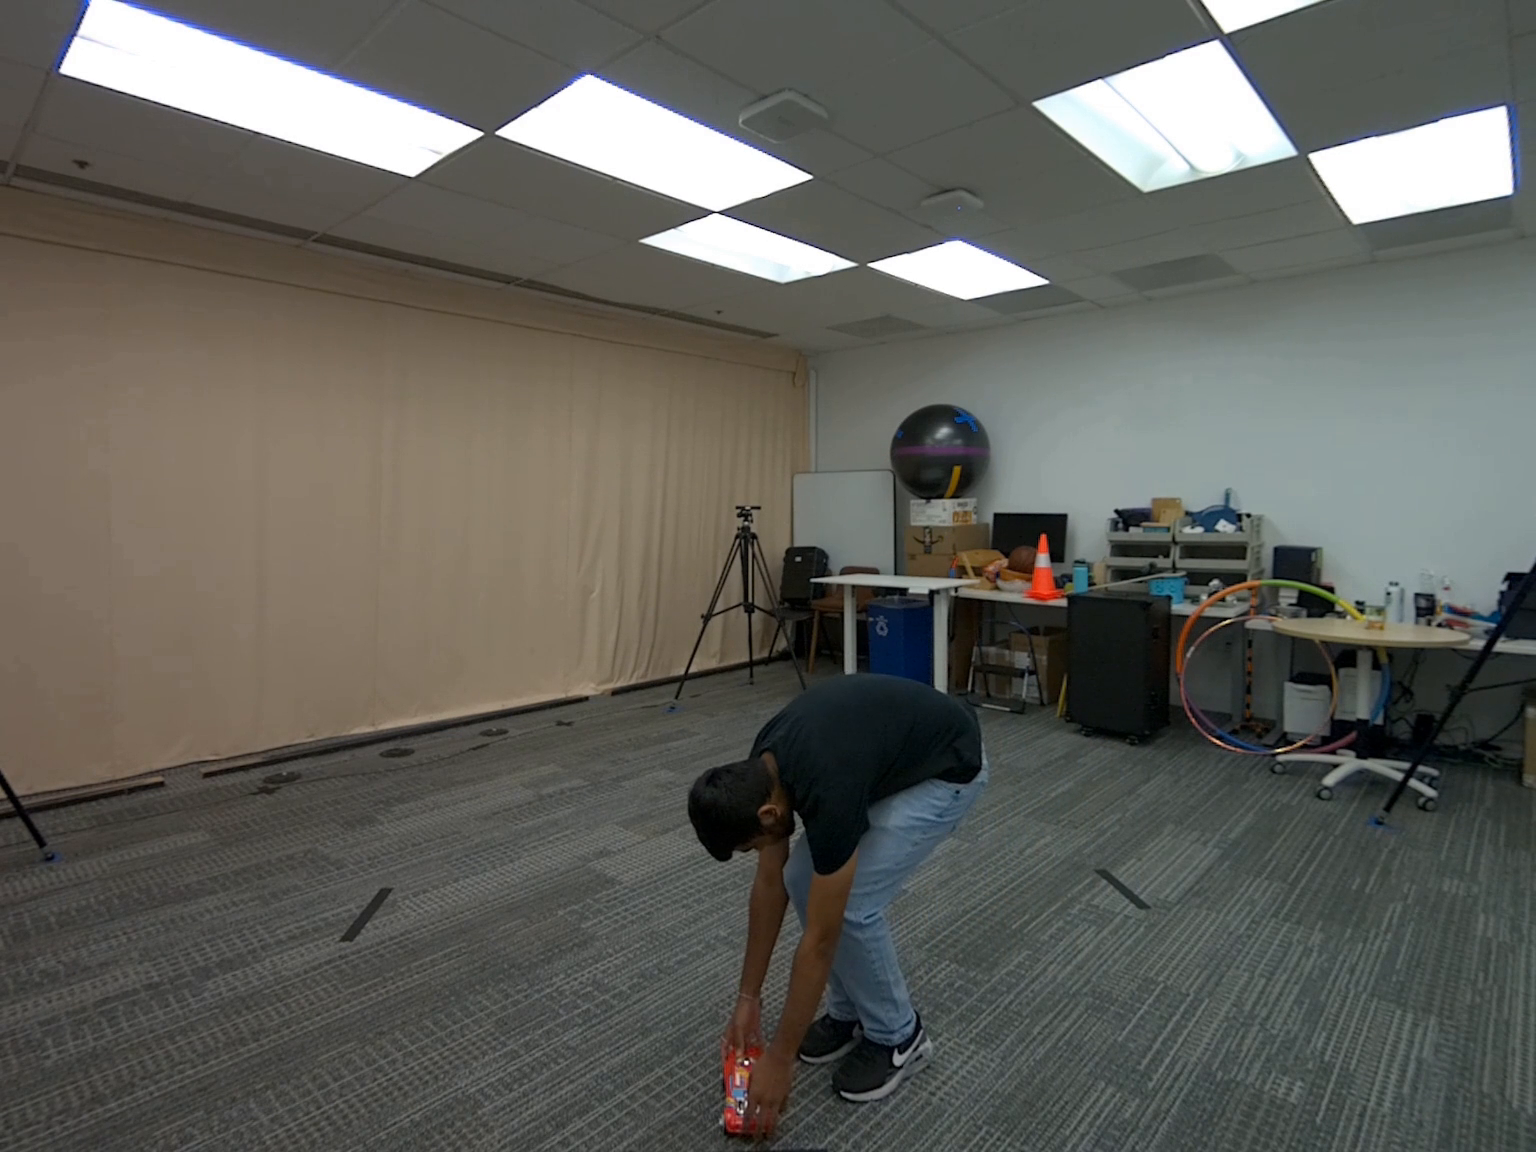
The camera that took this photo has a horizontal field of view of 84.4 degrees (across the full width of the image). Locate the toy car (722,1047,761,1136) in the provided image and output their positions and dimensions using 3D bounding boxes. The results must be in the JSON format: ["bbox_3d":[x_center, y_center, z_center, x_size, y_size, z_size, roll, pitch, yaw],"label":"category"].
[{"bbox_3d":[-0.039,1.195,1.950,0.130,0.083,0.256,0,10,-2],"label":"toy car"}]
